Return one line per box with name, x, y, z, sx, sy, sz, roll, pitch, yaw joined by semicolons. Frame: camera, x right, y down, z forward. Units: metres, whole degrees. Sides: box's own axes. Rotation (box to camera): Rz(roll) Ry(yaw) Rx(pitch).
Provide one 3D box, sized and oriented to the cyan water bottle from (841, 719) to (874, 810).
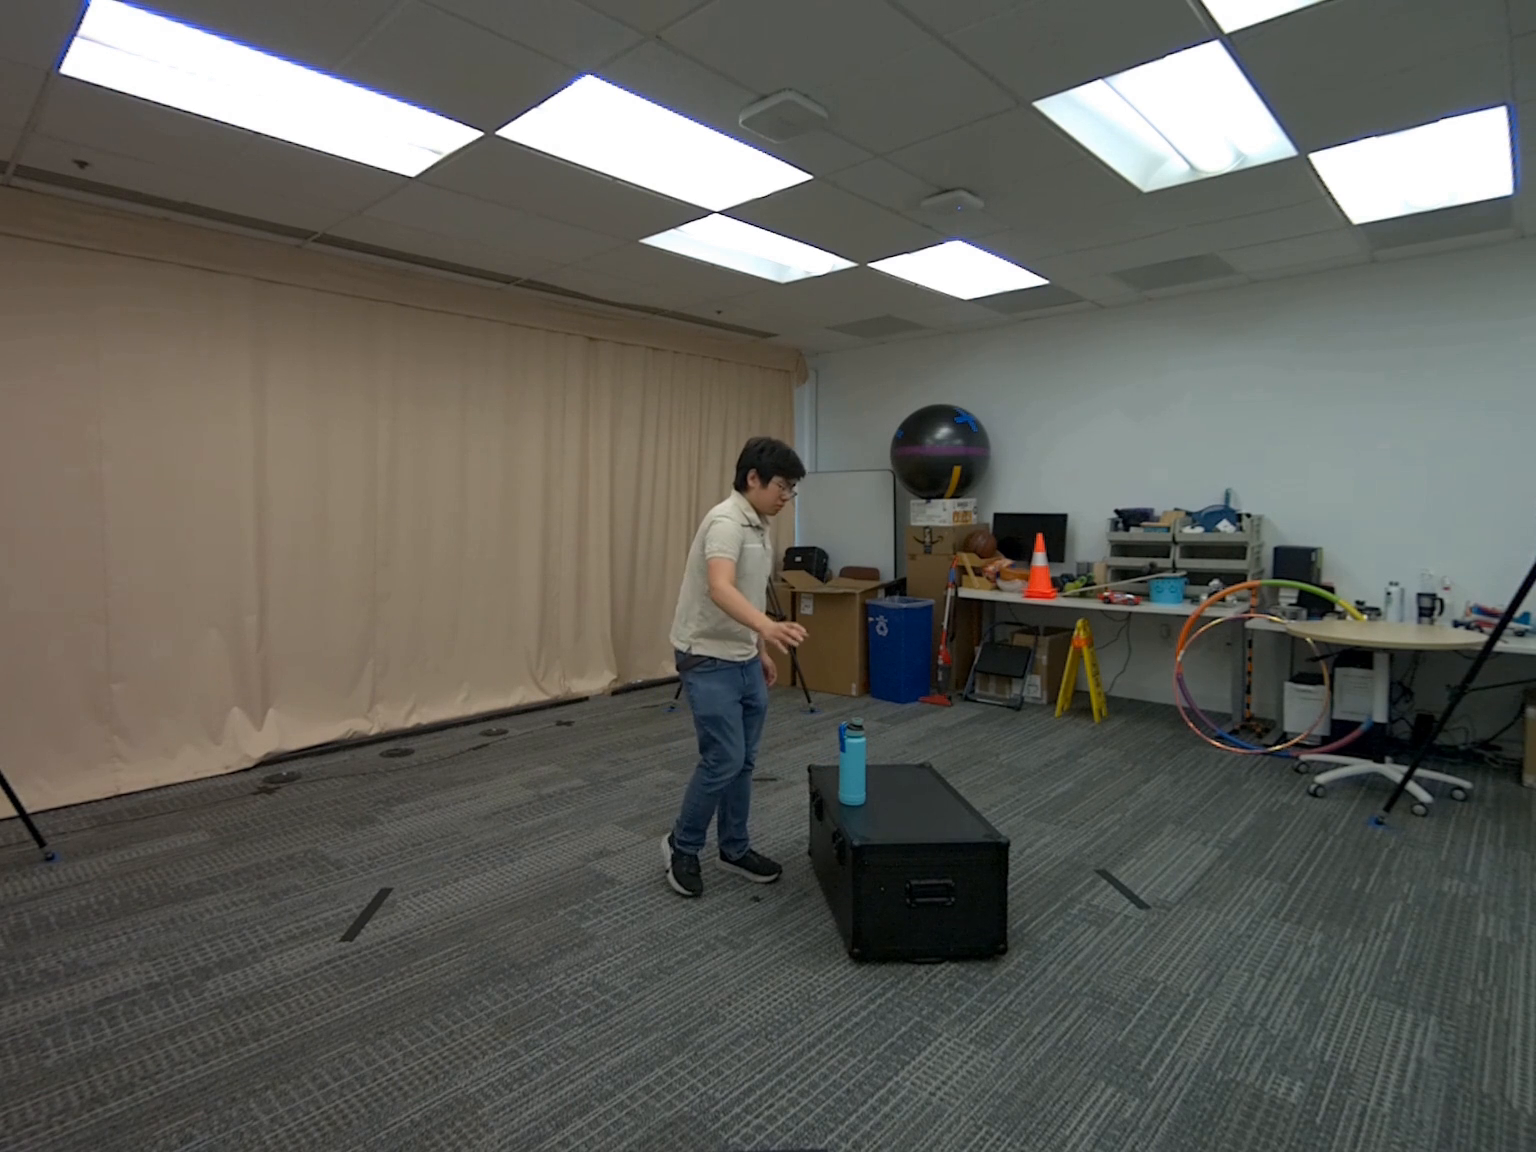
cyan water bottle;0.302;0.637;2.883;0.092;0.283;0.092;0;3;-2
